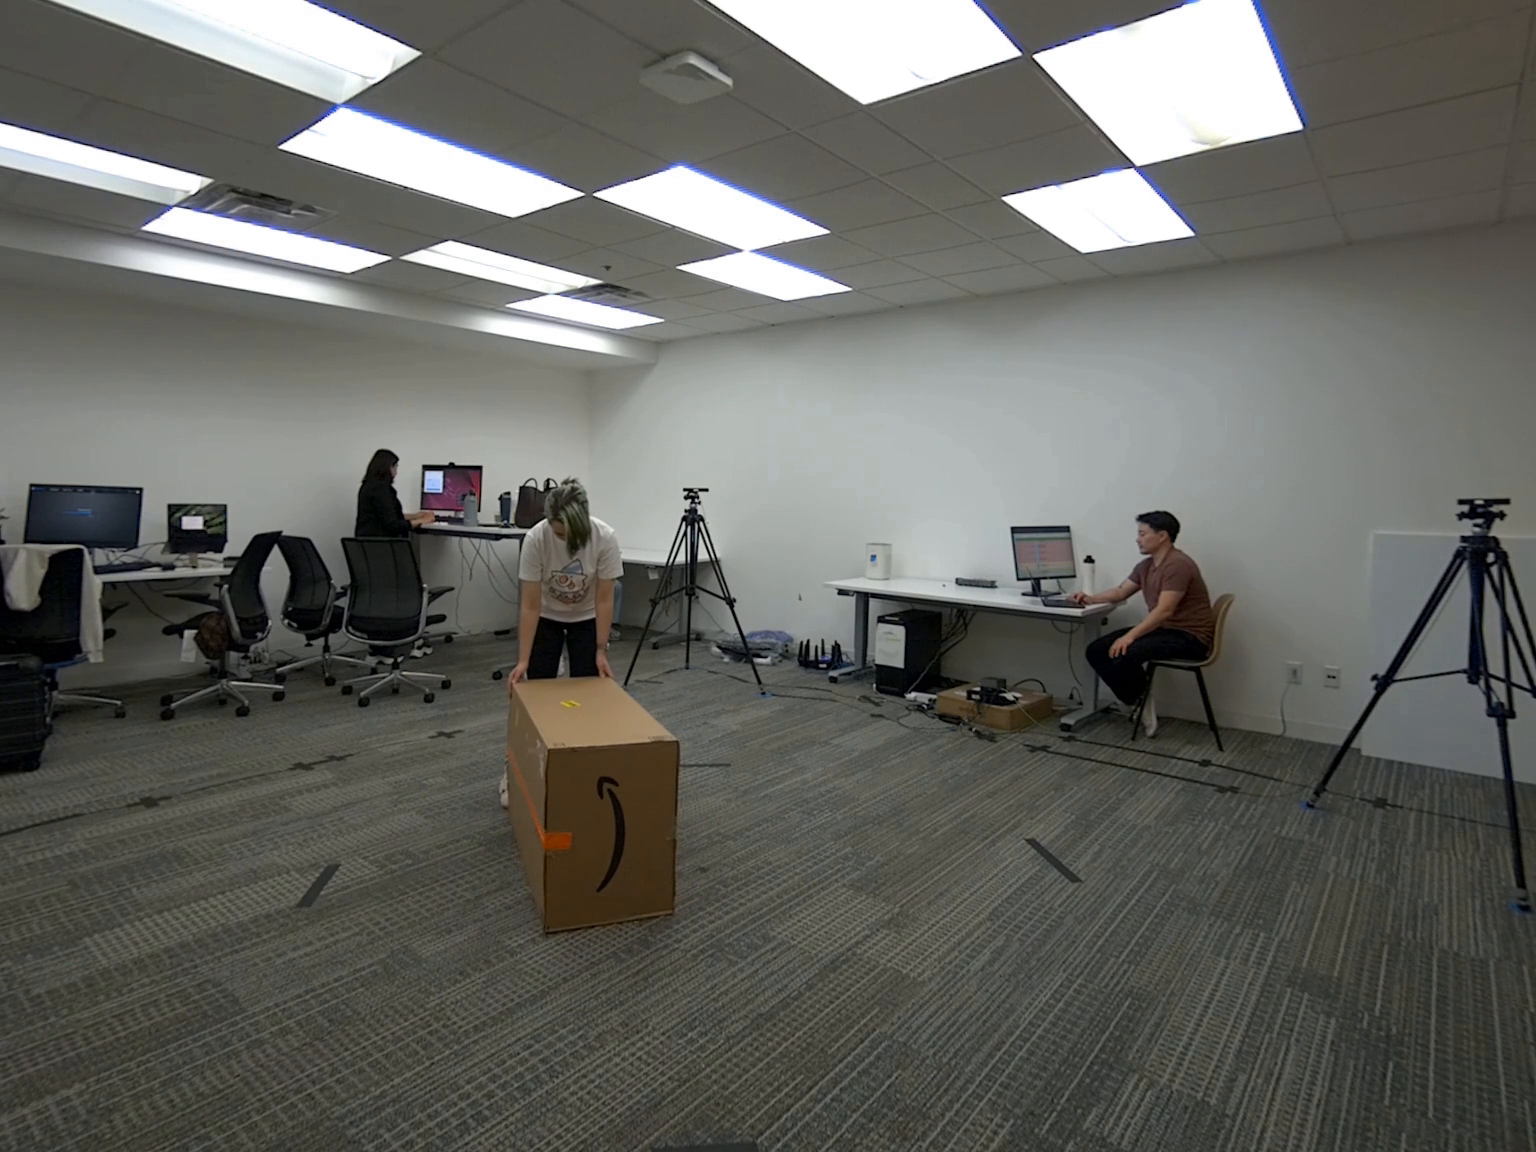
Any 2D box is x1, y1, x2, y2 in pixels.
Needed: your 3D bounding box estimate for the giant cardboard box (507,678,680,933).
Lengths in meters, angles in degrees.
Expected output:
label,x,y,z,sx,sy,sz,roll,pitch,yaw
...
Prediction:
label,x,y,z,sx,sy,sz,roll,pitch,yaw
giant cardboard box,-0.705,0.768,3.161,0.437,0.582,1.053,-1,4,-23
